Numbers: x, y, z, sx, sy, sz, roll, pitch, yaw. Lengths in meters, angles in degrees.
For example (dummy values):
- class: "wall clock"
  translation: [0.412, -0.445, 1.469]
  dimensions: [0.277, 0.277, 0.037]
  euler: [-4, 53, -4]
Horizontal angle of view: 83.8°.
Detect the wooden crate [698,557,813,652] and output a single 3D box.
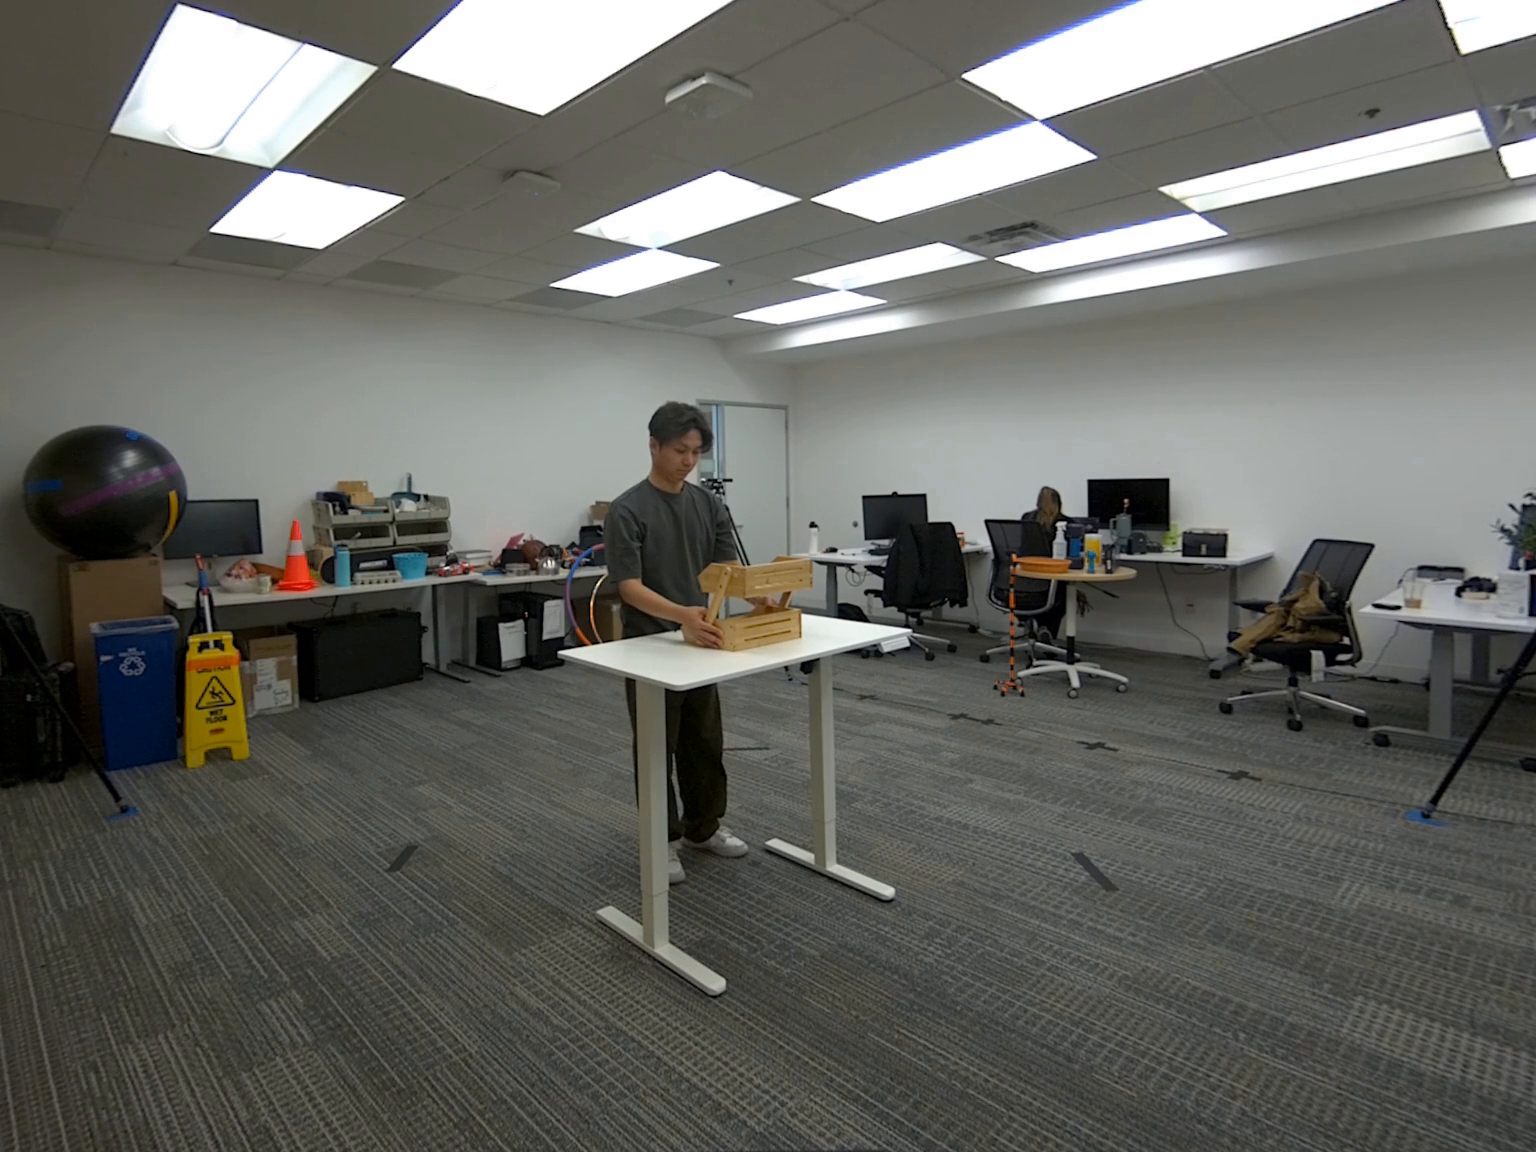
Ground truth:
- class: "wooden crate"
  translation: [-0.071, 0.076, 2.721]
  dimensions: [0.316, 0.272, 0.311]
  euler: [-7, 8, -43]
